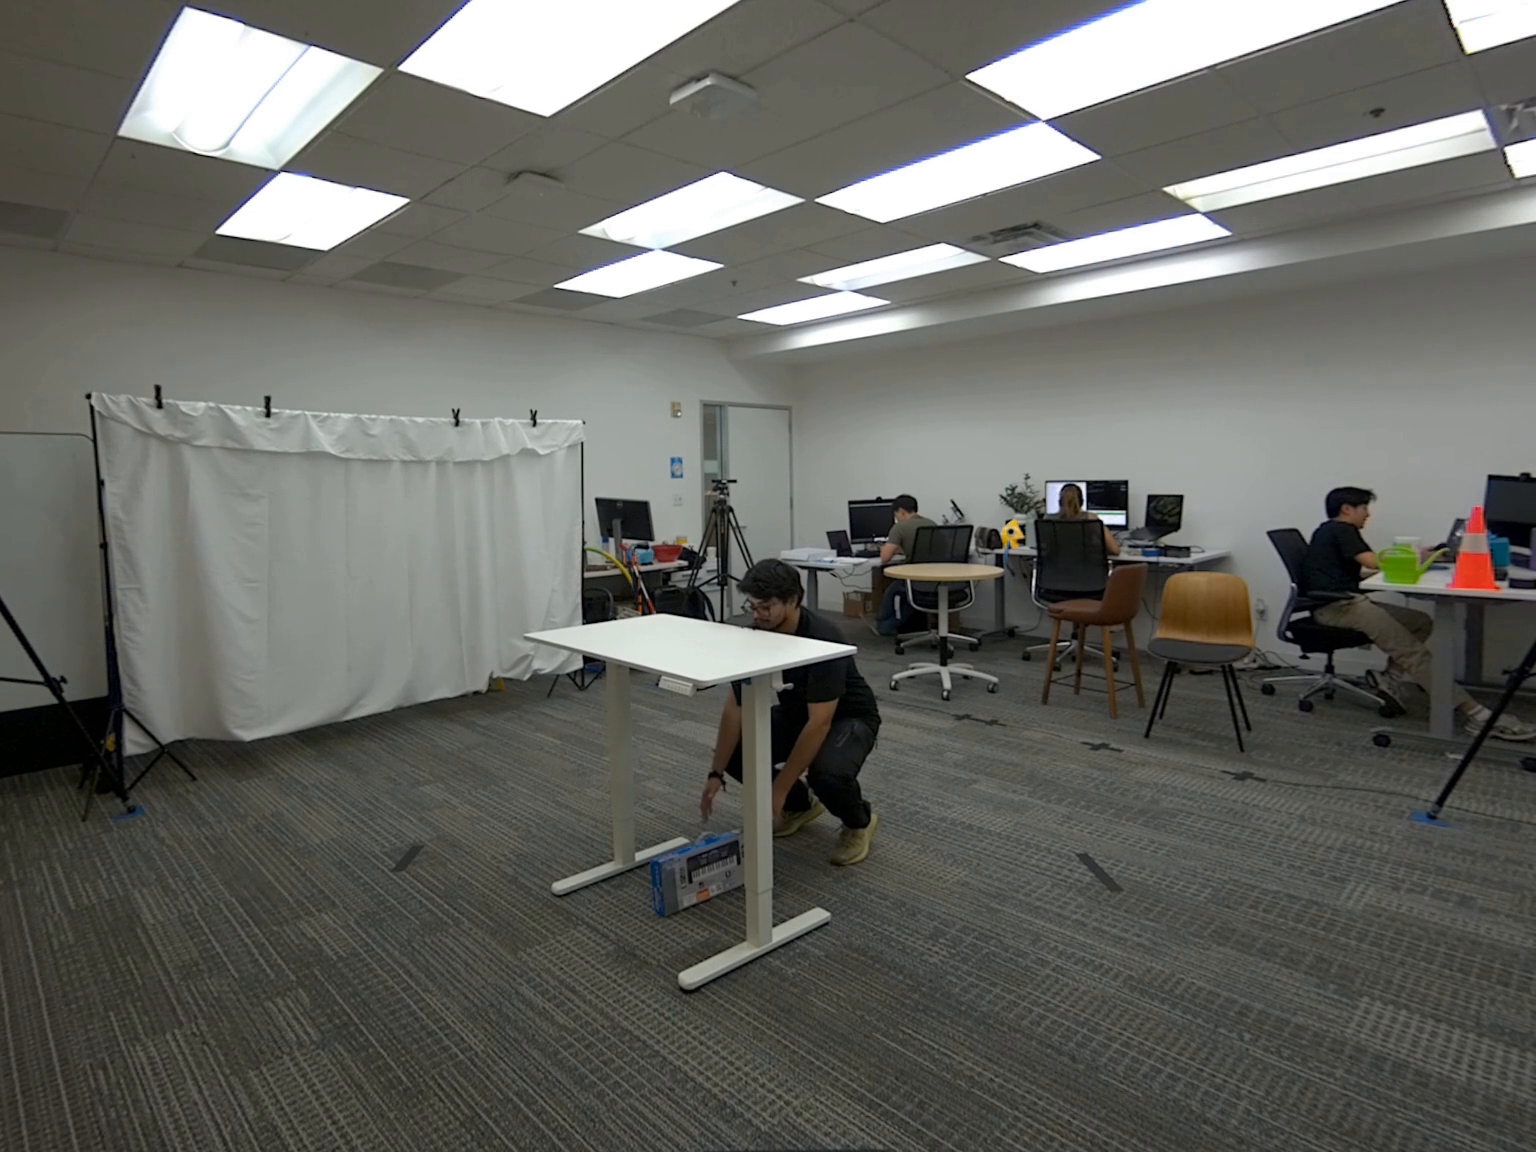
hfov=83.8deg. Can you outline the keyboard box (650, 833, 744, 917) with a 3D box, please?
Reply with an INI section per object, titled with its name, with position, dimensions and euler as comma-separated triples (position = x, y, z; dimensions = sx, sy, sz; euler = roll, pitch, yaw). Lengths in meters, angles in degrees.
[keyboard box]
position = -0.189, 0.991, 2.885
dimensions = 0.425, 0.176, 0.060
euler = -6, 0, -39
